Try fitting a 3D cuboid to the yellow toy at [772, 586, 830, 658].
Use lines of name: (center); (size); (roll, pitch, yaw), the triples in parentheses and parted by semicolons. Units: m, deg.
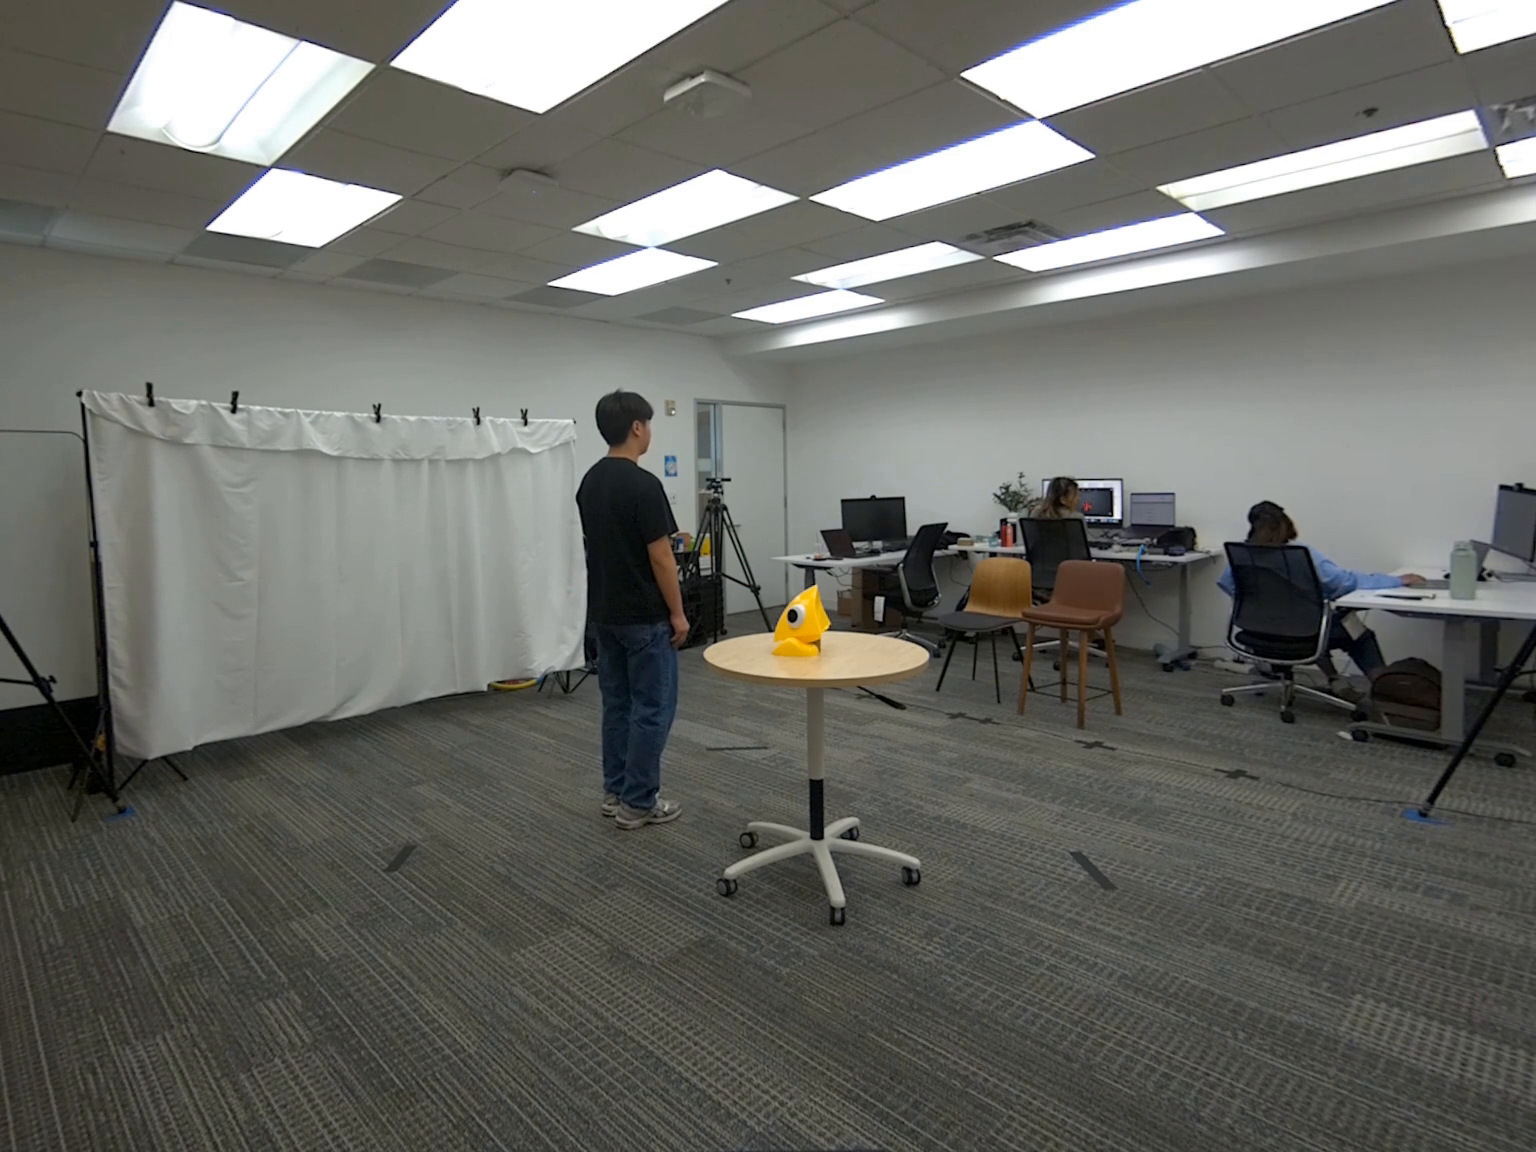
yellow toy: (0.111, 0.143, 2.960); (0.196, 0.230, 0.203); (1, 5, 14)
